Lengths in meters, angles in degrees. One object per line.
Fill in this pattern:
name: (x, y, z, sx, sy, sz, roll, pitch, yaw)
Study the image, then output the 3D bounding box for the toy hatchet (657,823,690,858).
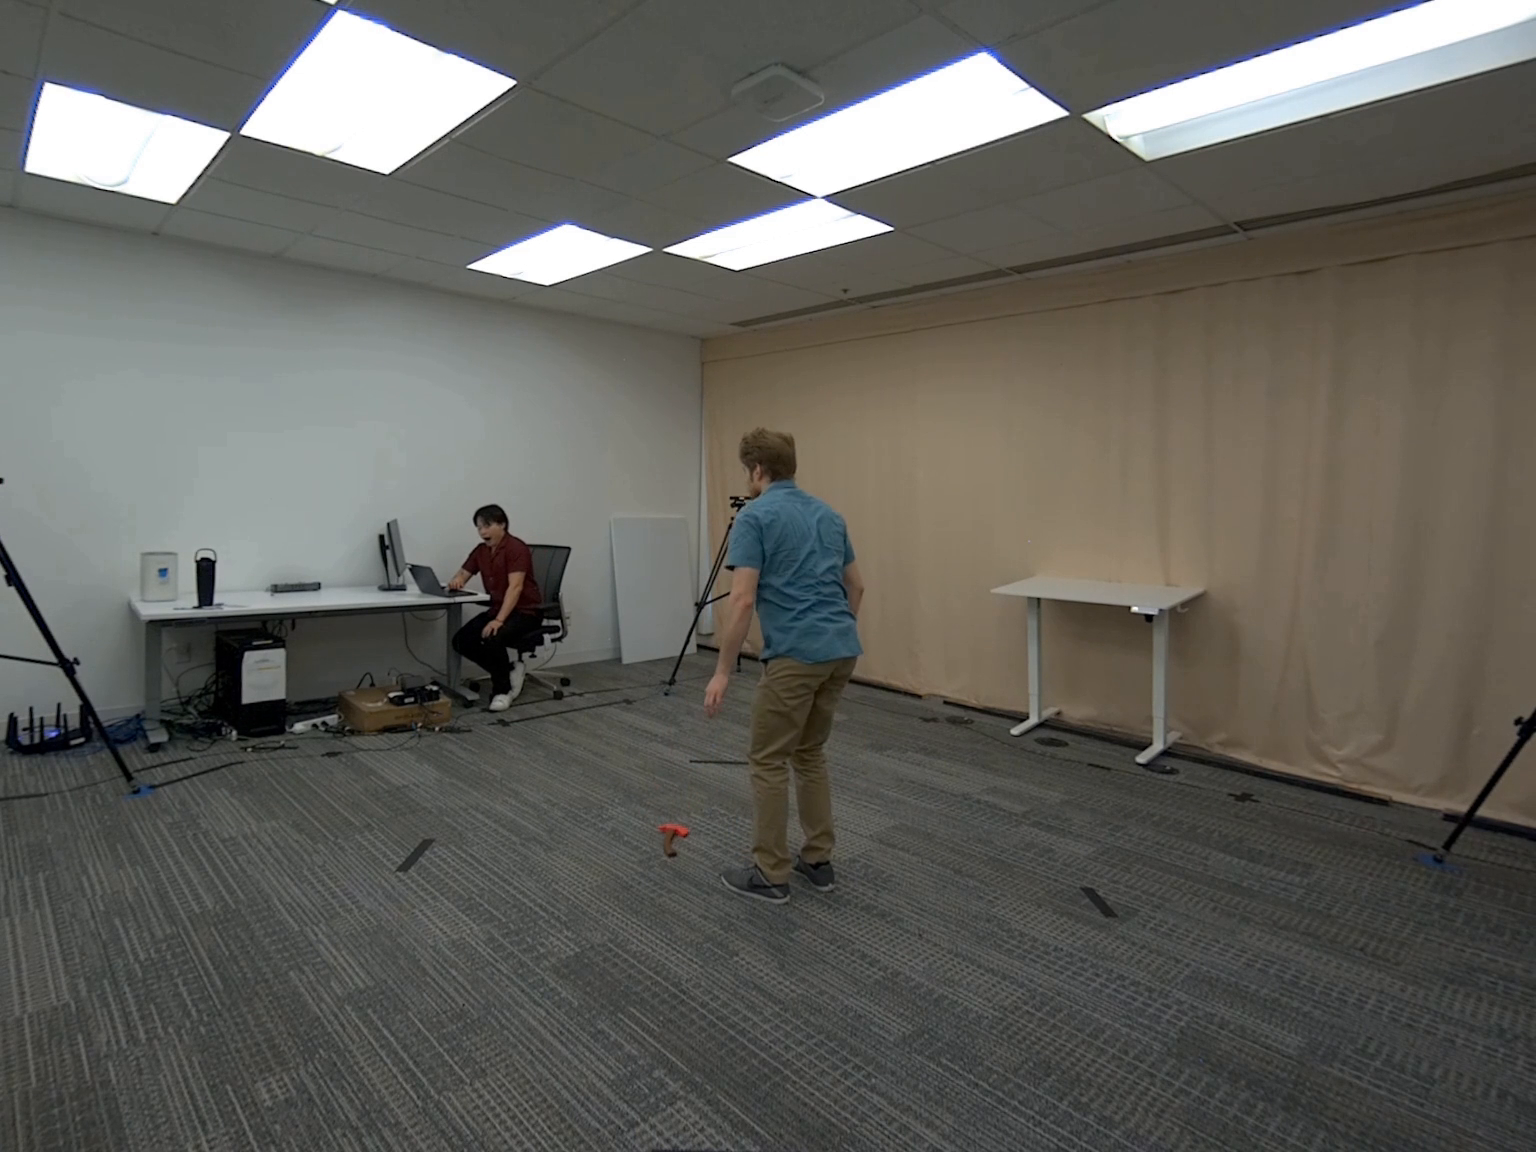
toy hatchet: (-0.369, 1.066, 3.385, 0.129, 0.029, 0.274, 2, 7, -16)
